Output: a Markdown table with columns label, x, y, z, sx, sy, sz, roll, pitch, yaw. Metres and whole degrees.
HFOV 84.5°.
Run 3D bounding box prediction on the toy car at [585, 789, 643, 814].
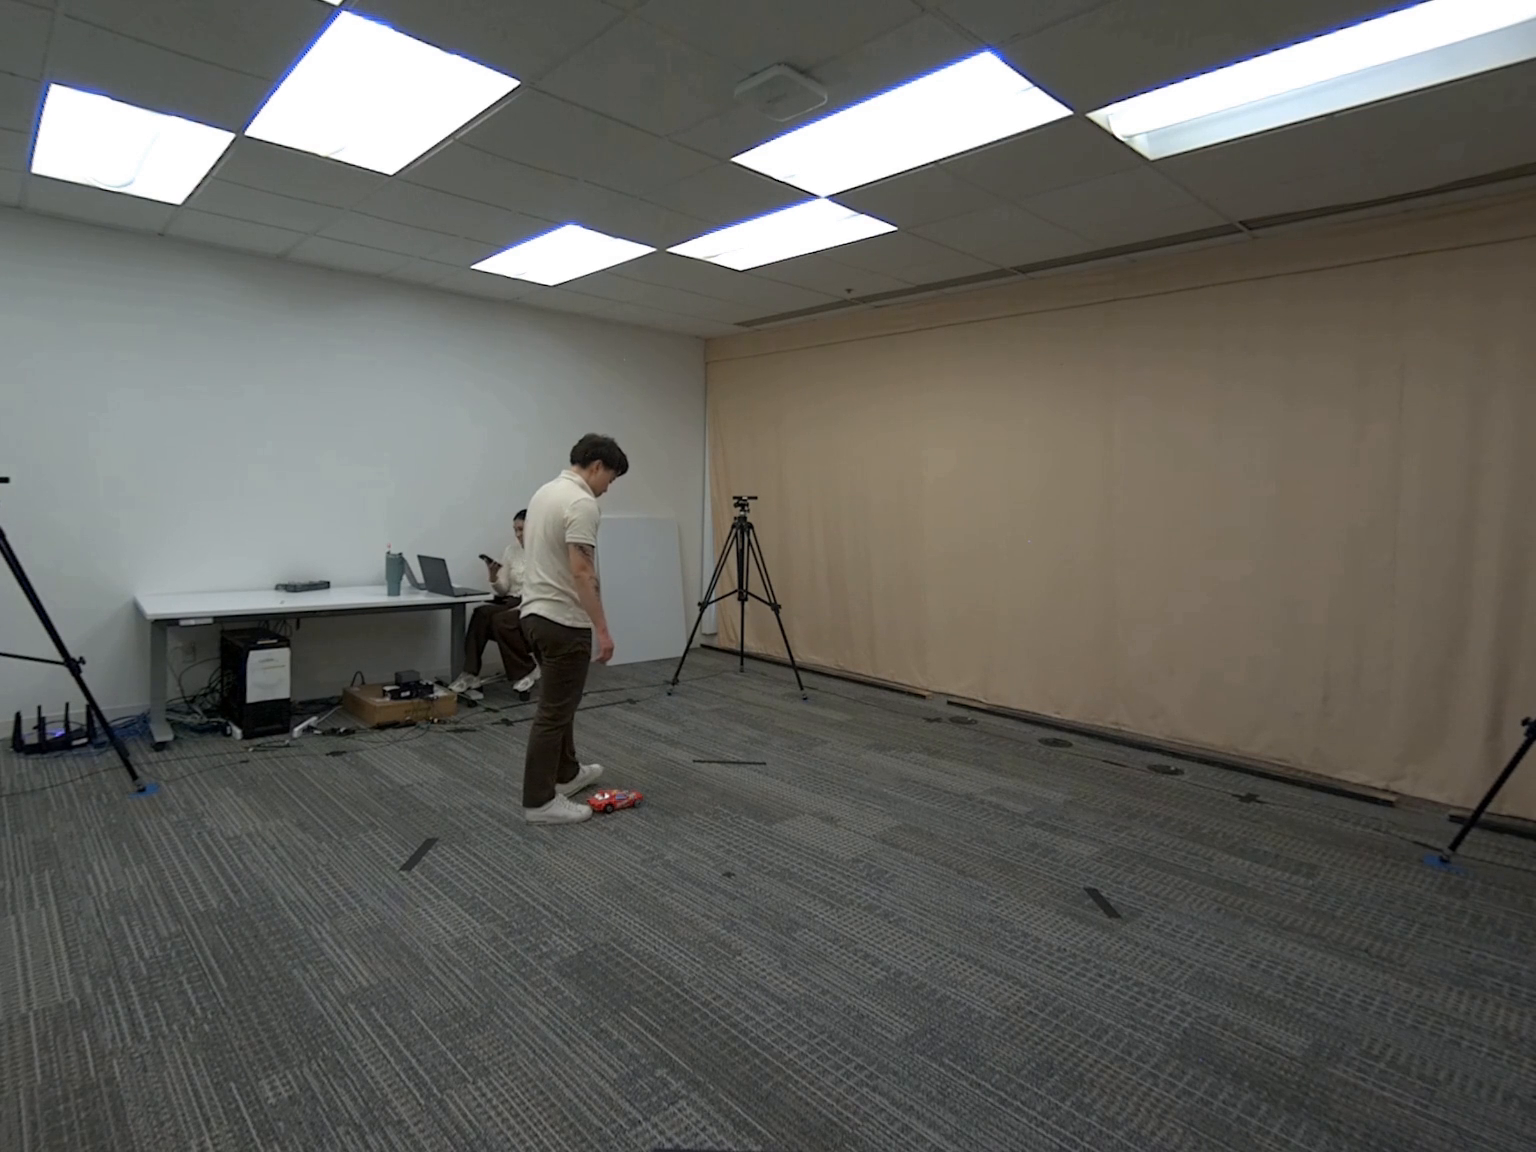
| label | x | y | z | sx | sy | sz | roll | pitch | yaw |
| --- | --- | --- | --- | --- | --- | --- | --- | --- | --- |
| toy car | -0.701 | 1.003 | 3.751 | 0.248 | 0.083 | 0.133 | 11 | -3 | -35 |
